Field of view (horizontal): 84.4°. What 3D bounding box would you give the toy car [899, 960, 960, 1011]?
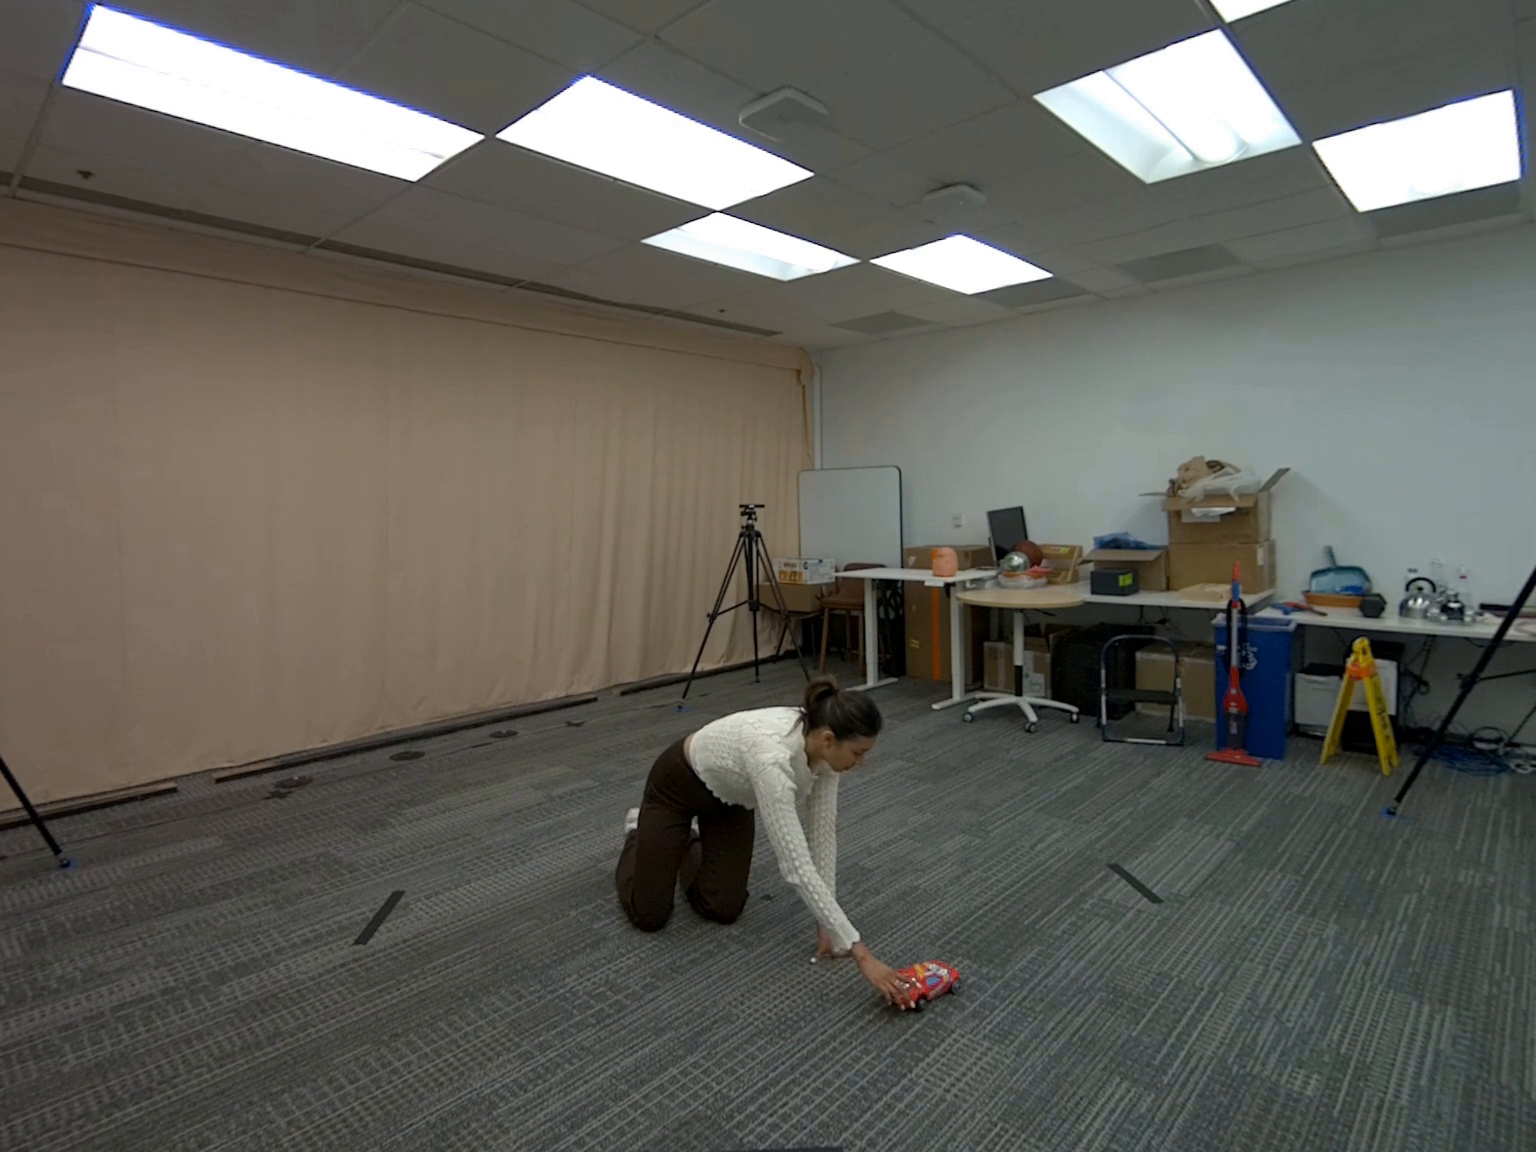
[{"bbox_3d":[0.429,1.152,2.369,0.246,0.083,0.134,10,-2,-35],"label":"toy car"}]
